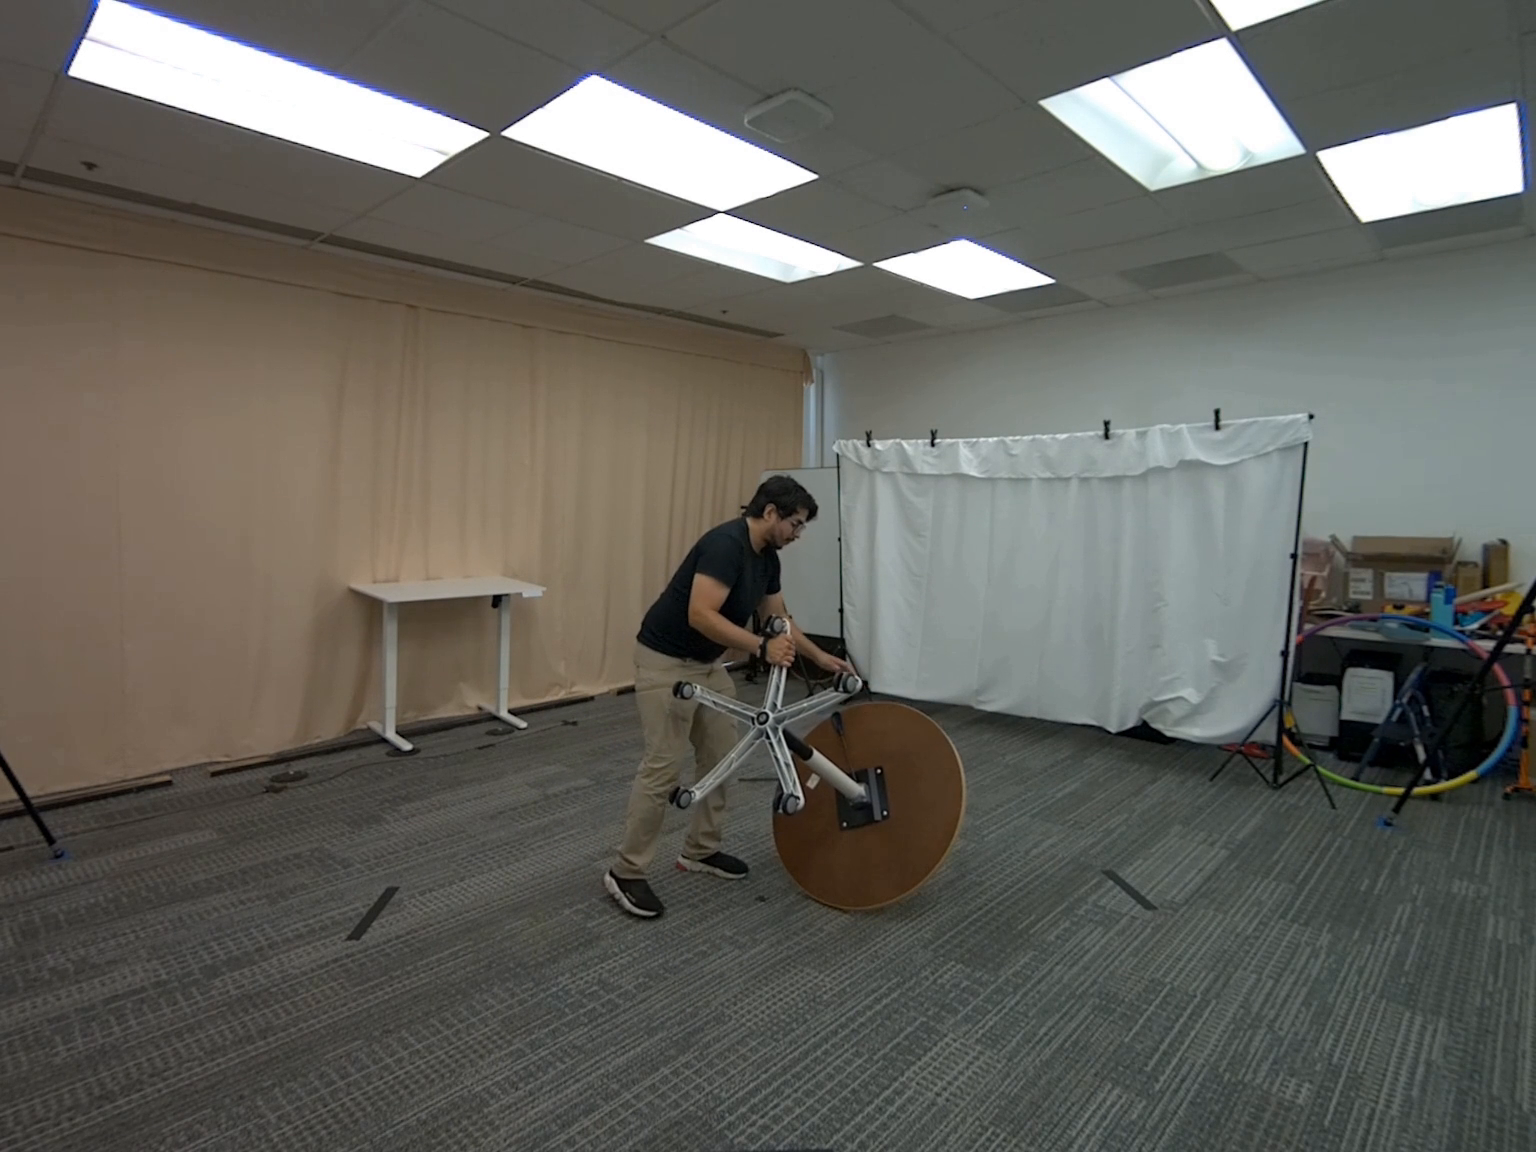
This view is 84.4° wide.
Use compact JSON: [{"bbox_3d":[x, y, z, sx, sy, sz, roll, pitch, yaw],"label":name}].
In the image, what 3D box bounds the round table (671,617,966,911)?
[{"bbox_3d":[0.161,0.614,2.834,0.811,0.787,0.759,3,-29,41],"label":"round table"}]
